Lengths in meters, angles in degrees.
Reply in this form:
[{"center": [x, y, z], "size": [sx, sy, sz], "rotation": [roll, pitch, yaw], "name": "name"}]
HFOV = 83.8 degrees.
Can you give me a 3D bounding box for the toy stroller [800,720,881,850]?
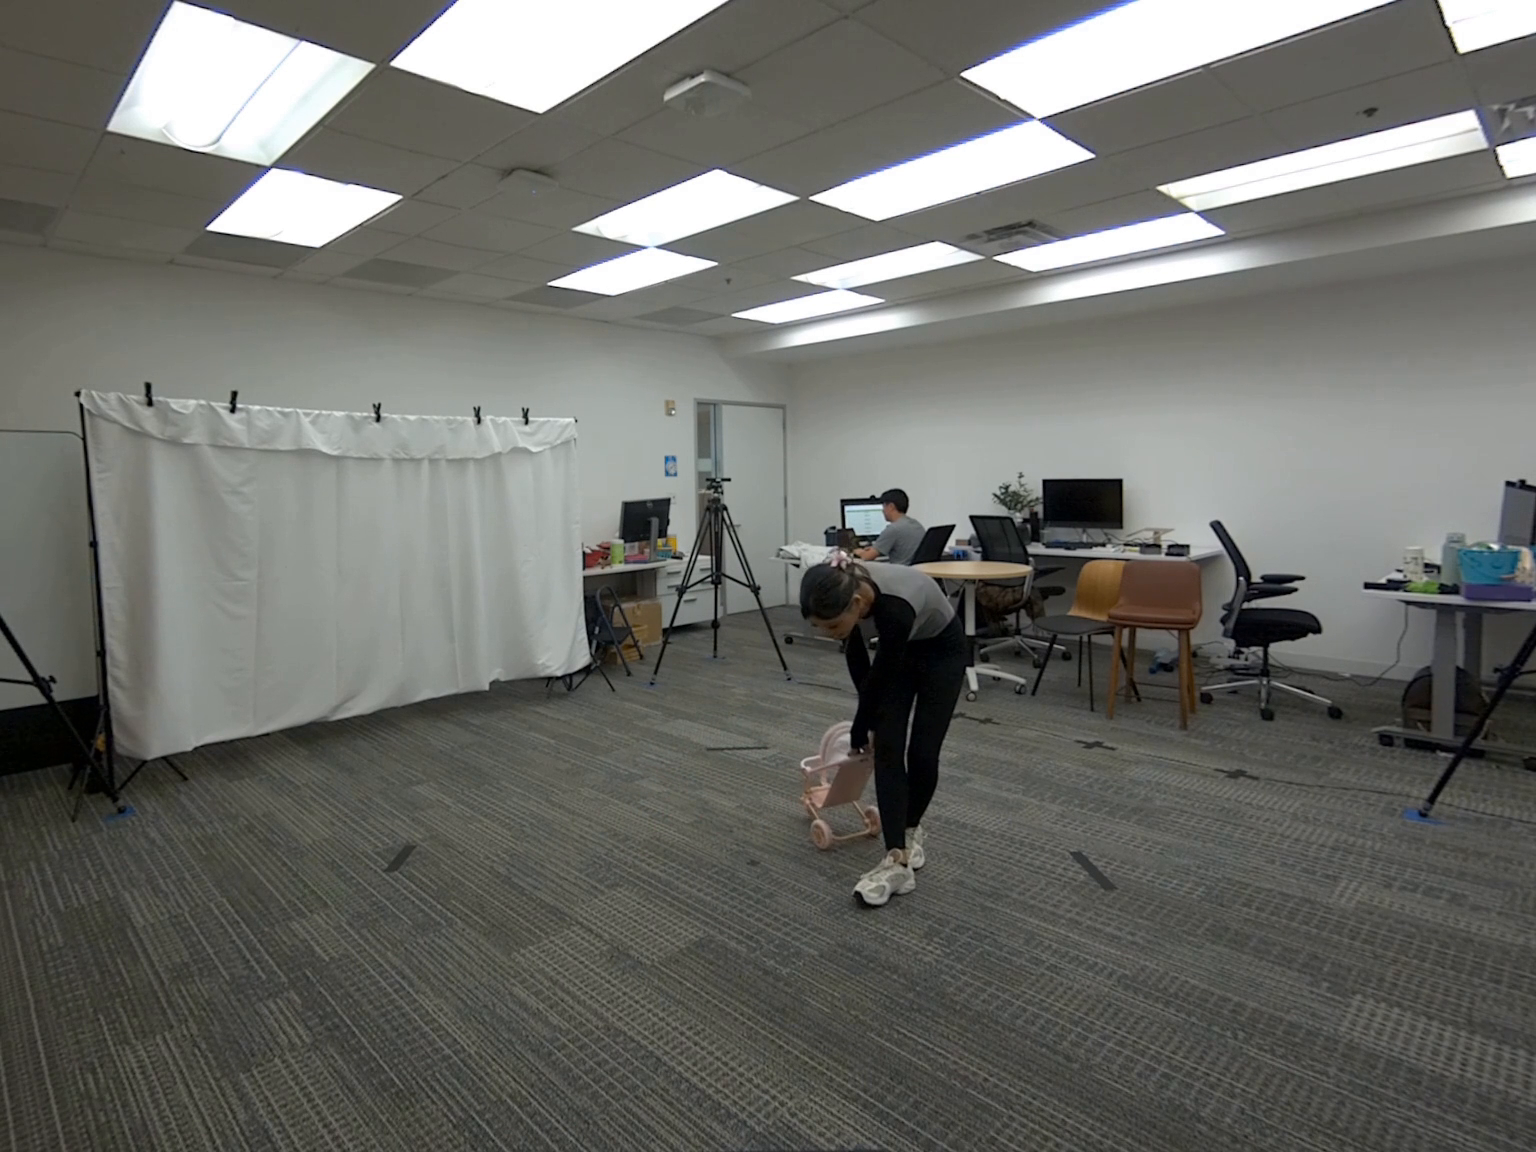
[{"center": [0.278, 0.787, 3.309], "size": [0.275, 0.526, 0.354], "rotation": [-3, 25, -25], "name": "toy stroller"}]
